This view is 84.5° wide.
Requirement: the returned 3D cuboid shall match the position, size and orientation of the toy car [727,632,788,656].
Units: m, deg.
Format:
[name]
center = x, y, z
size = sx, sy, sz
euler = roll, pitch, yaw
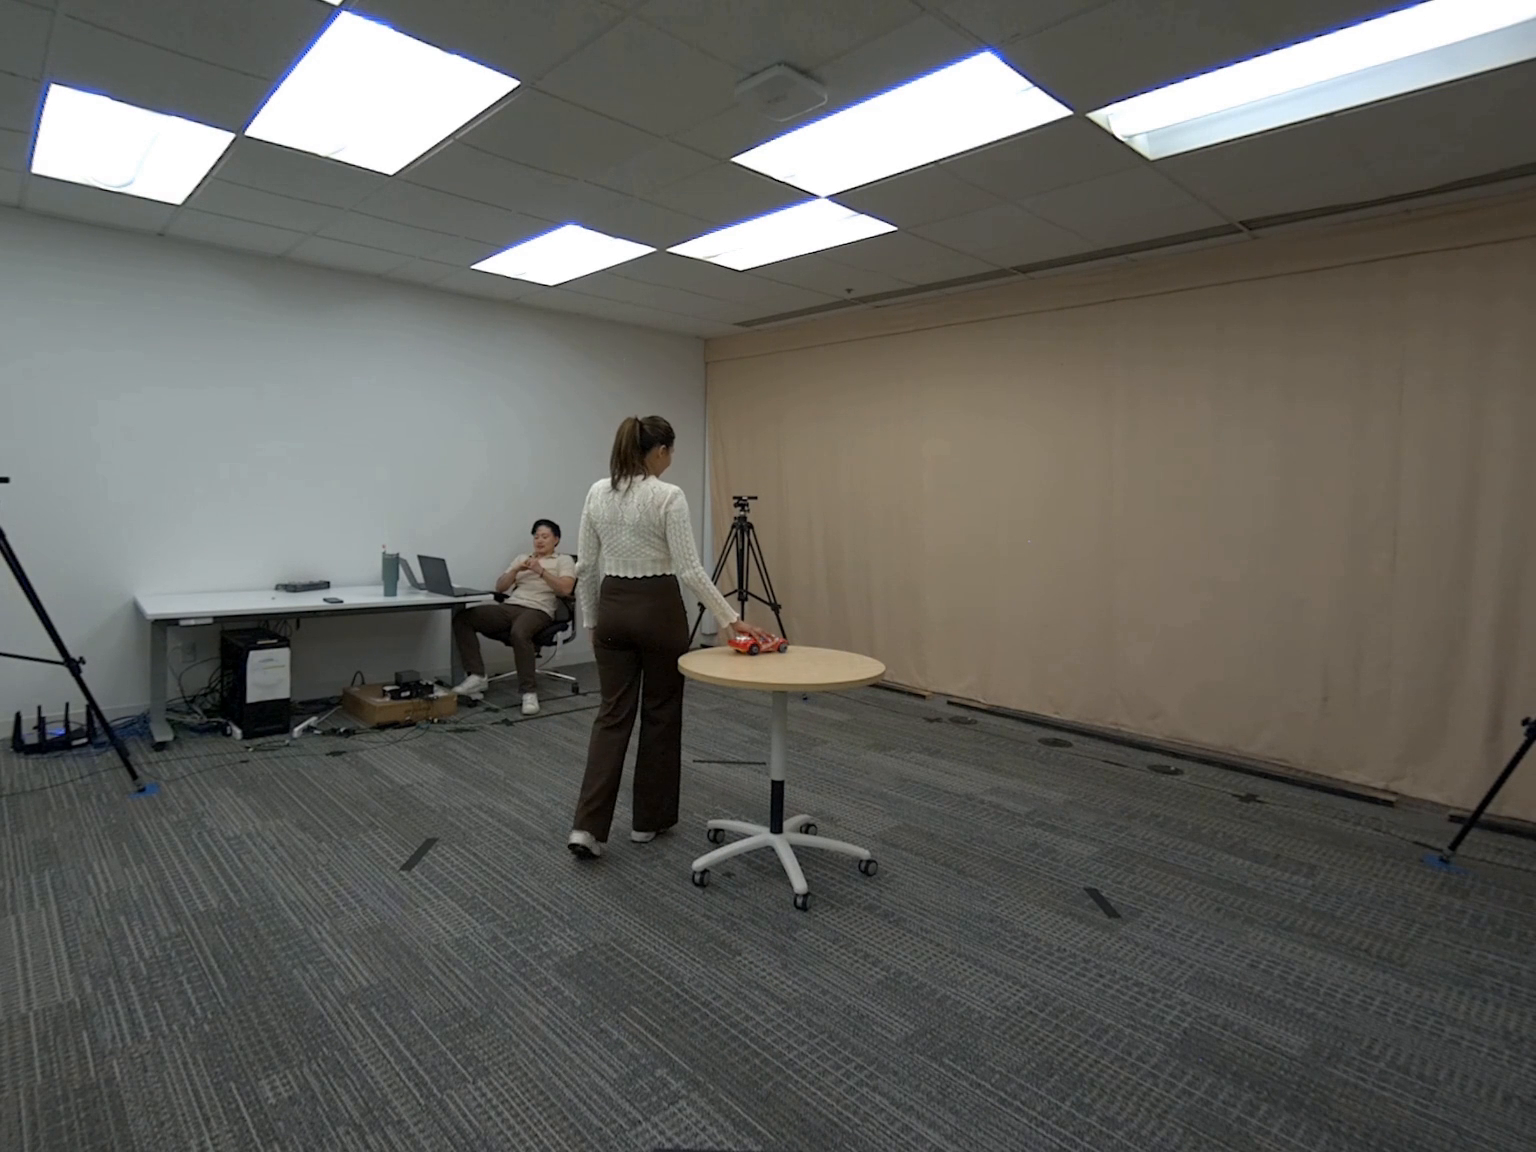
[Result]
[toy car]
center = -0.056, 0.272, 3.318
size = 0.248, 0.083, 0.133
euler = 13, -4, -36
